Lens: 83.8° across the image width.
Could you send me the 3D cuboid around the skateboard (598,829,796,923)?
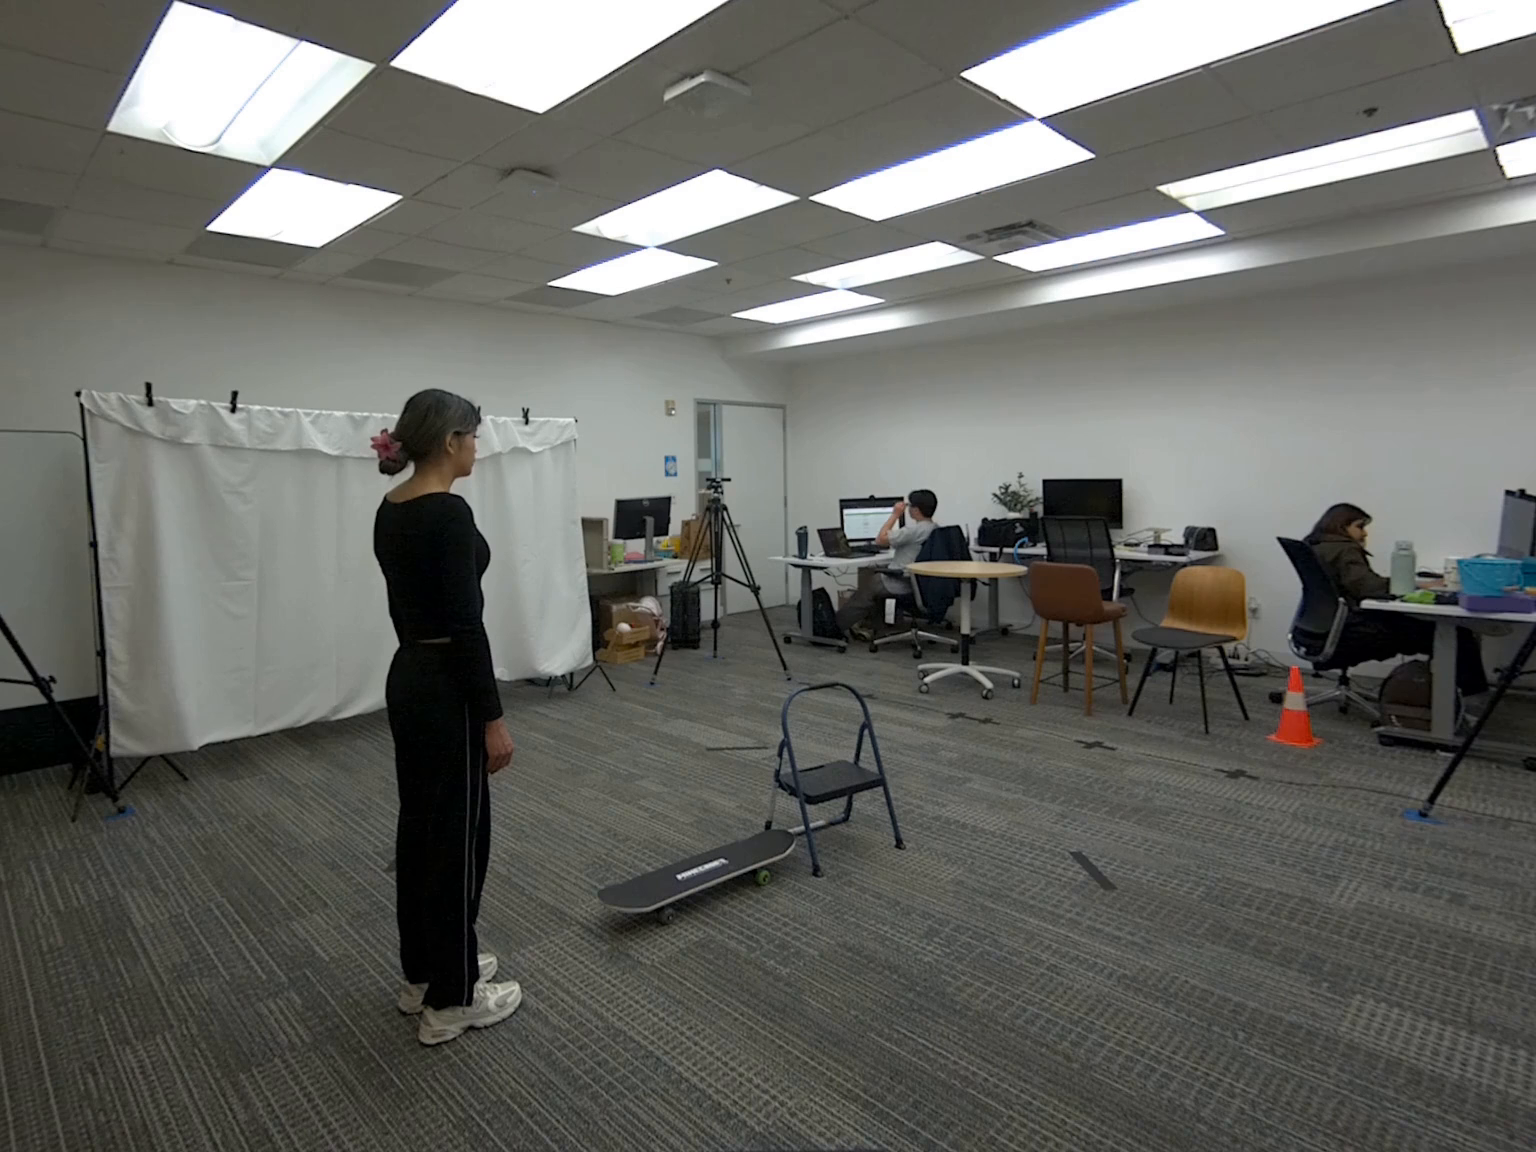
[{"bbox_3d":[-0.215,1.018,2.867,0.765,0.110,0.199,-7,7,-39],"label":"skateboard"}]
